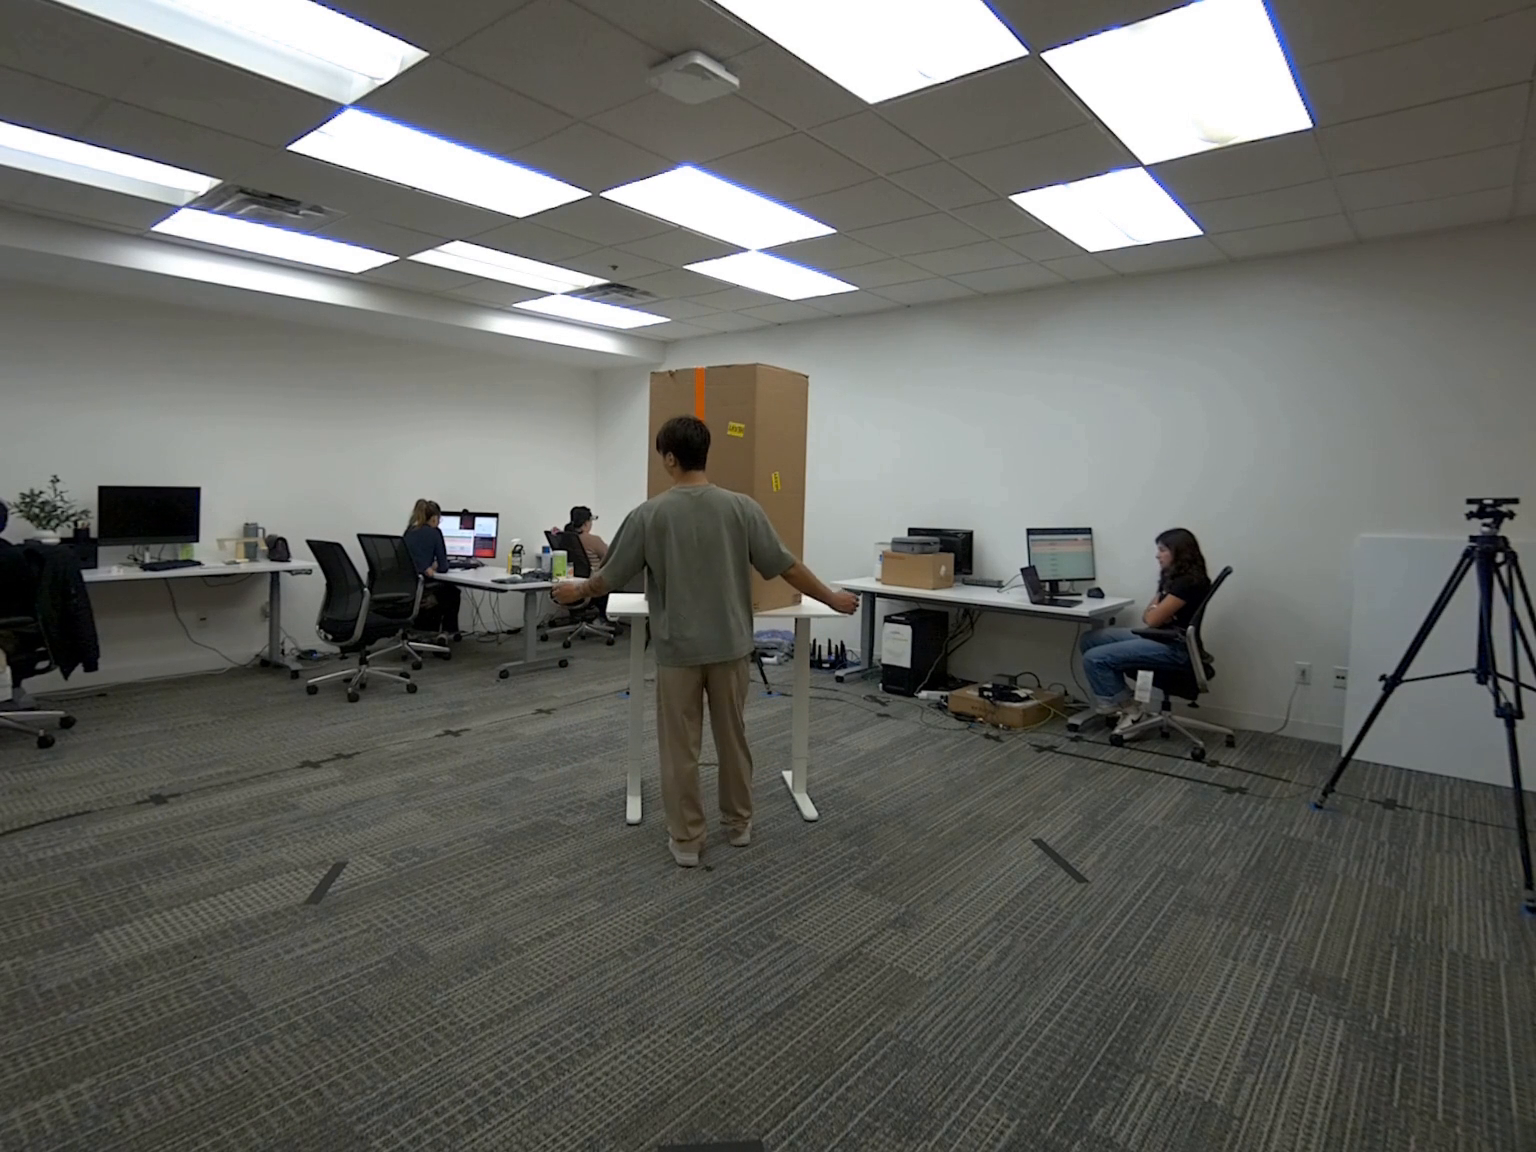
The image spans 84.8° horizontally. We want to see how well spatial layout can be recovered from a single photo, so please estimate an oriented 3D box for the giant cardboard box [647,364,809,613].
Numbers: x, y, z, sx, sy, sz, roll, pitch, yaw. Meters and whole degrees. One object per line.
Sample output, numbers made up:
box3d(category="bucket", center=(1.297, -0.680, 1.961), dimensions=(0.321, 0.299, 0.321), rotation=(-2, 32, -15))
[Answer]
box3d(category="giant cardboard box", center=(-0.197, -0.394, 3.787), dimensions=(0.596, 1.022, 0.414), rotation=(4, 5, 34))
